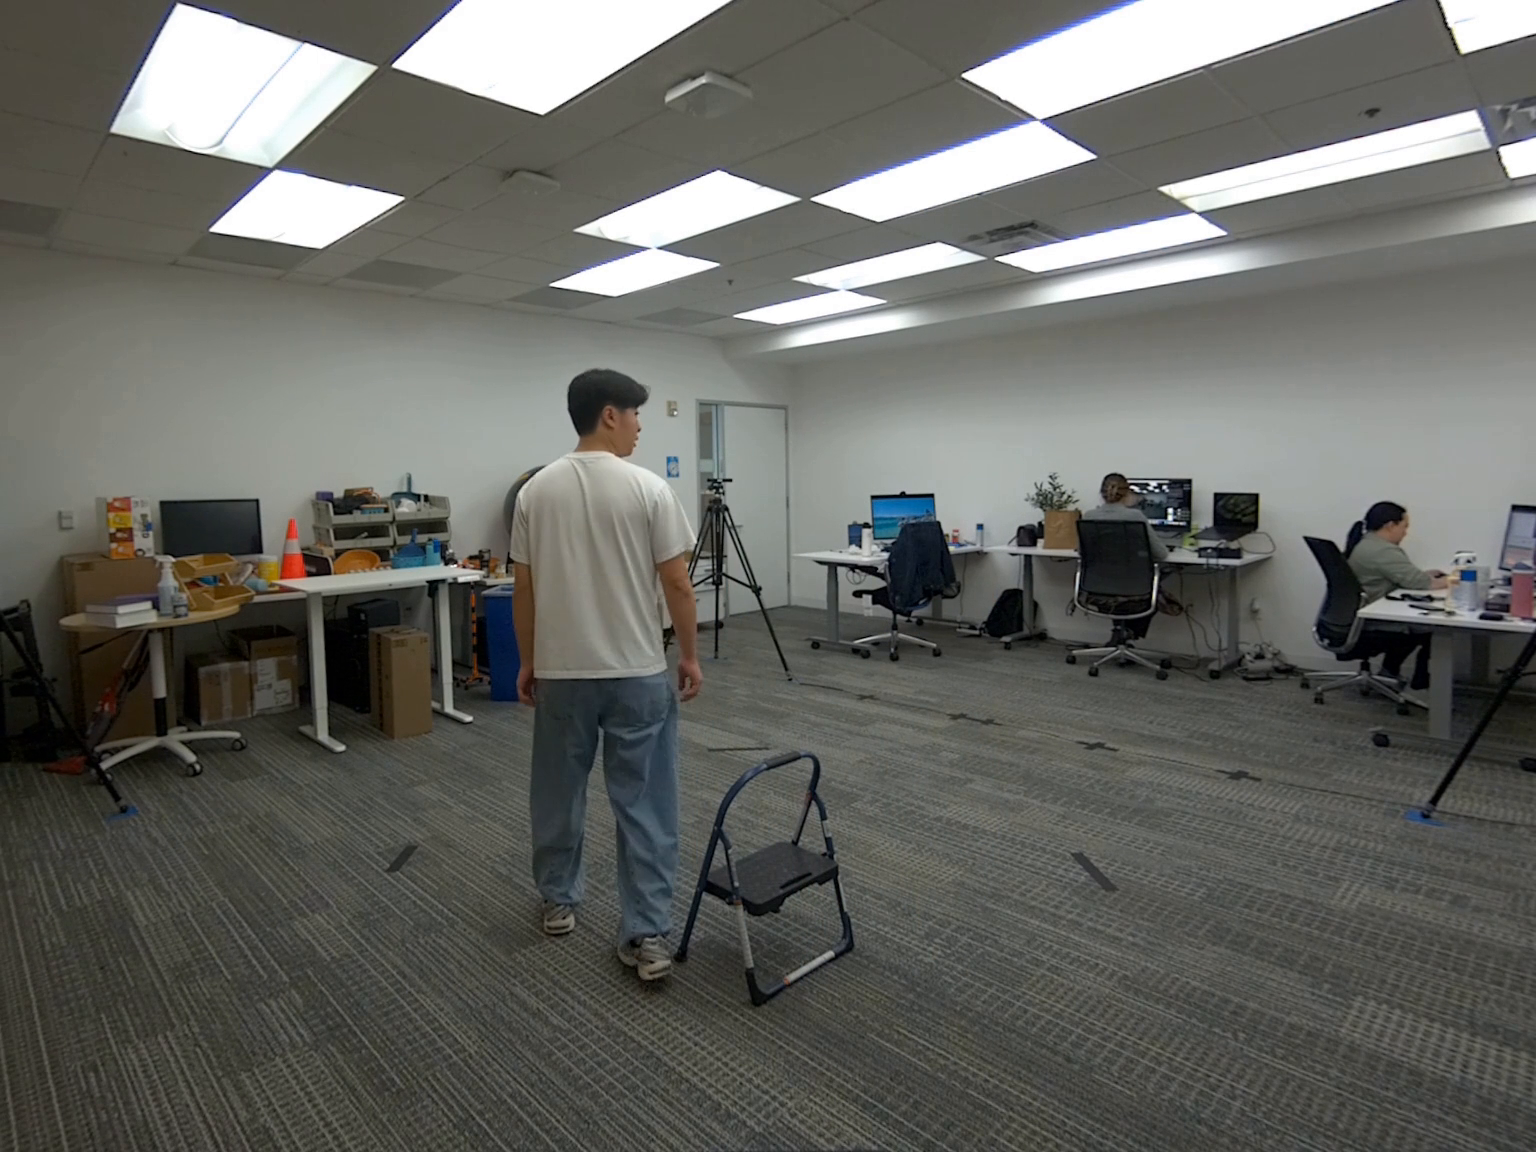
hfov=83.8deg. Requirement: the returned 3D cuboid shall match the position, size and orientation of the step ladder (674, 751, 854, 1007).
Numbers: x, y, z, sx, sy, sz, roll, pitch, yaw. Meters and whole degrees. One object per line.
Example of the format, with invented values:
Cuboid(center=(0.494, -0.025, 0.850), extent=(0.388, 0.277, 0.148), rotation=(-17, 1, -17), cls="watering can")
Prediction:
Cuboid(center=(-0.009, 0.805, 2.504), extent=(0.419, 0.604, 0.360), rotation=(-5, 6, -45), cls="step ladder")
